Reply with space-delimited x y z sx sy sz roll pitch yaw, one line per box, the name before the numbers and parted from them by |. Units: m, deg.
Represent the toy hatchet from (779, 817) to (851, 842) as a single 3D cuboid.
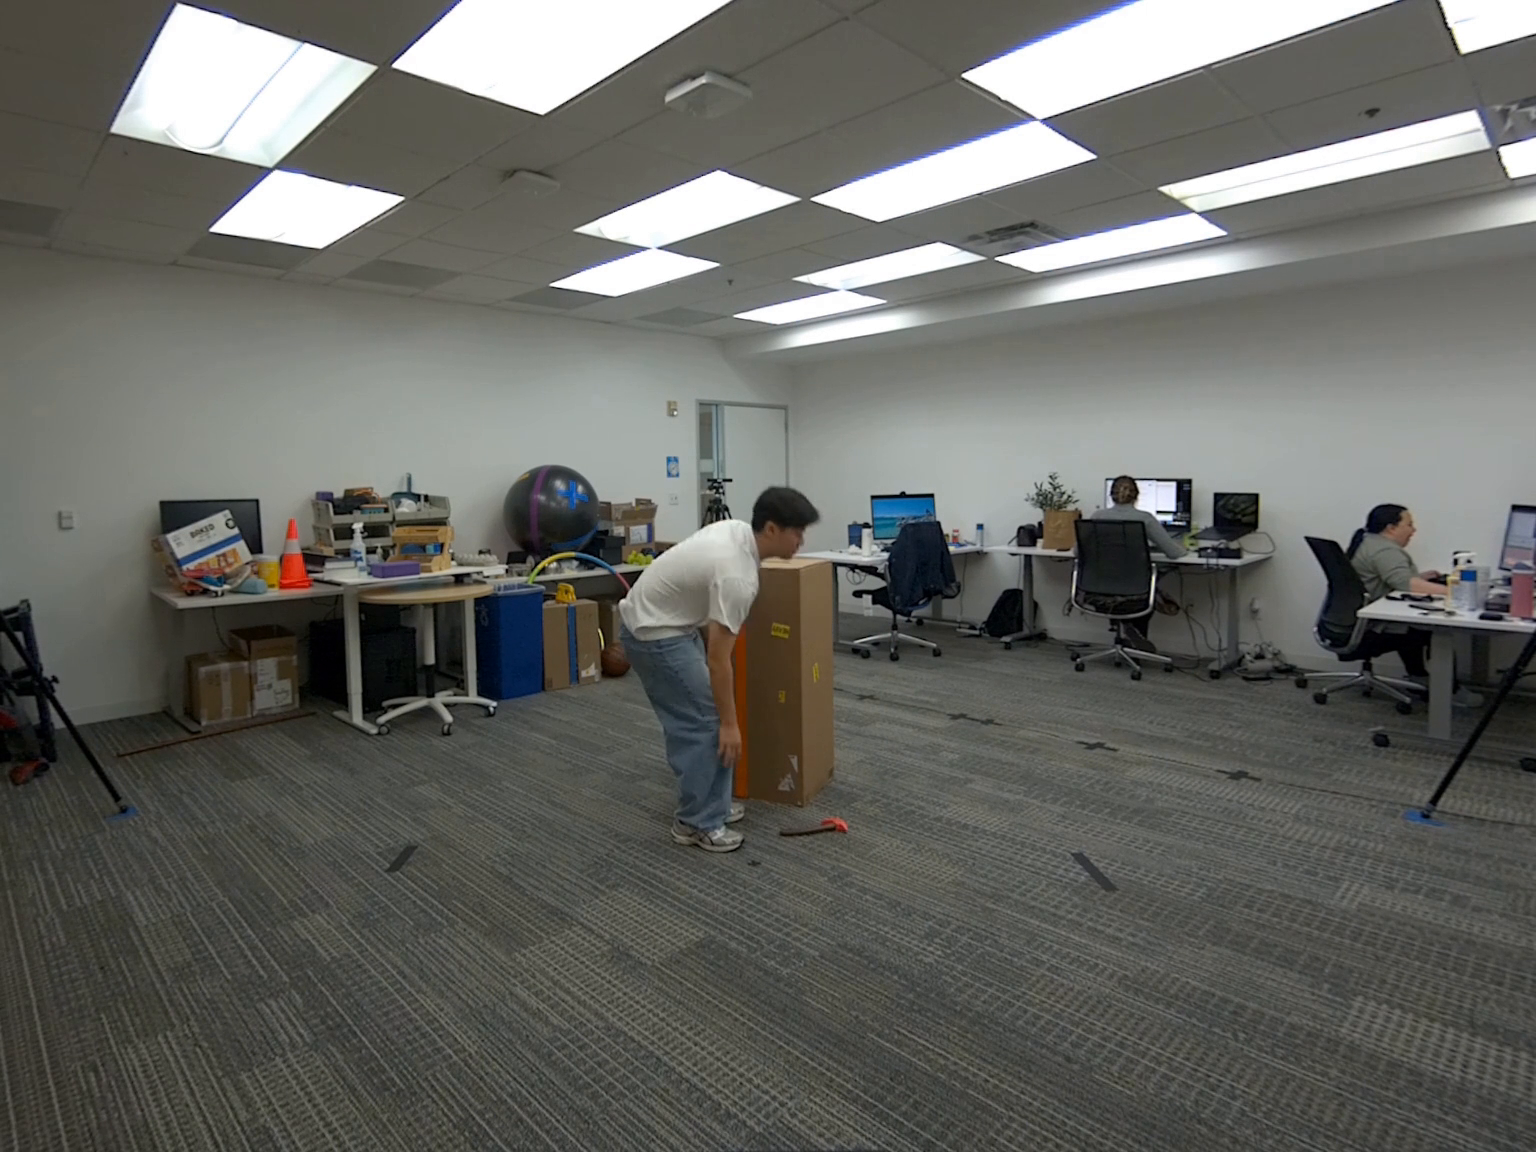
toy hatchet | 0.181 1.003 3.398 0.270 0.029 0.131 -3 6 1
